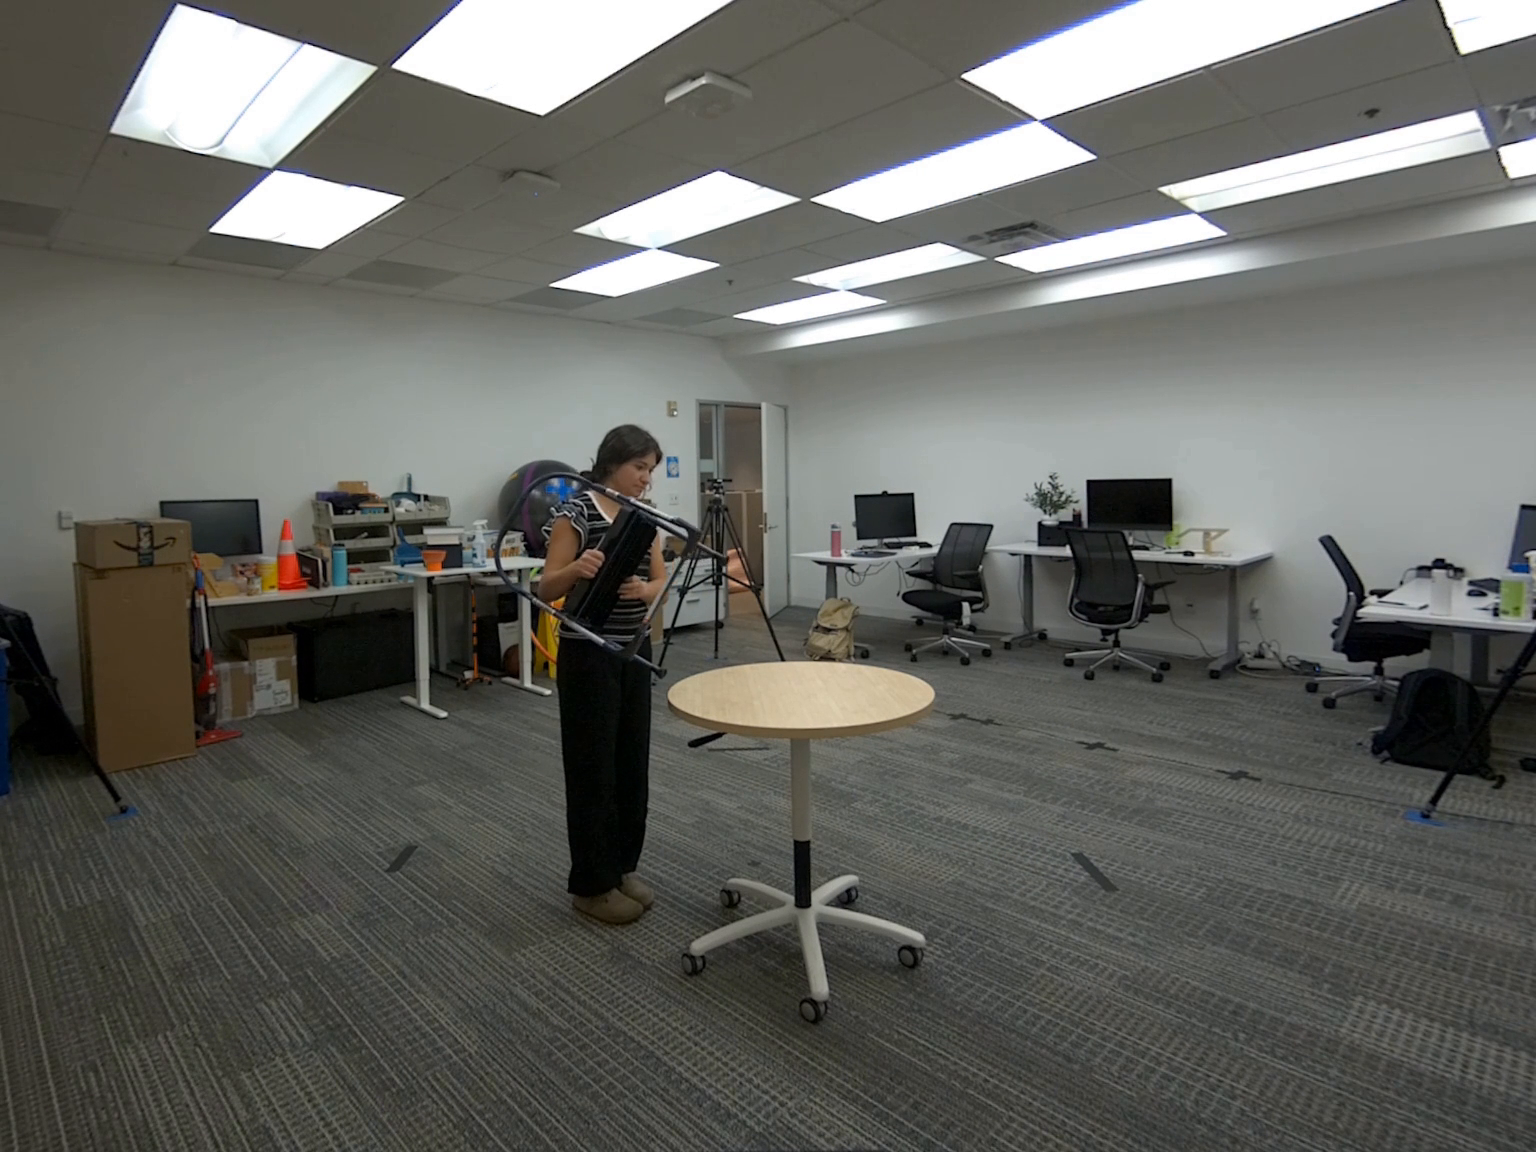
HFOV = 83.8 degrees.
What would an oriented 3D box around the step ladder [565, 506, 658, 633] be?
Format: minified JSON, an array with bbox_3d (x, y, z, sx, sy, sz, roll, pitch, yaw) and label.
[{"bbox_3d":[-0.508,-0.045,2.576,0.619,0.432,0.341,26,-9,17],"label":"step ladder"}]
